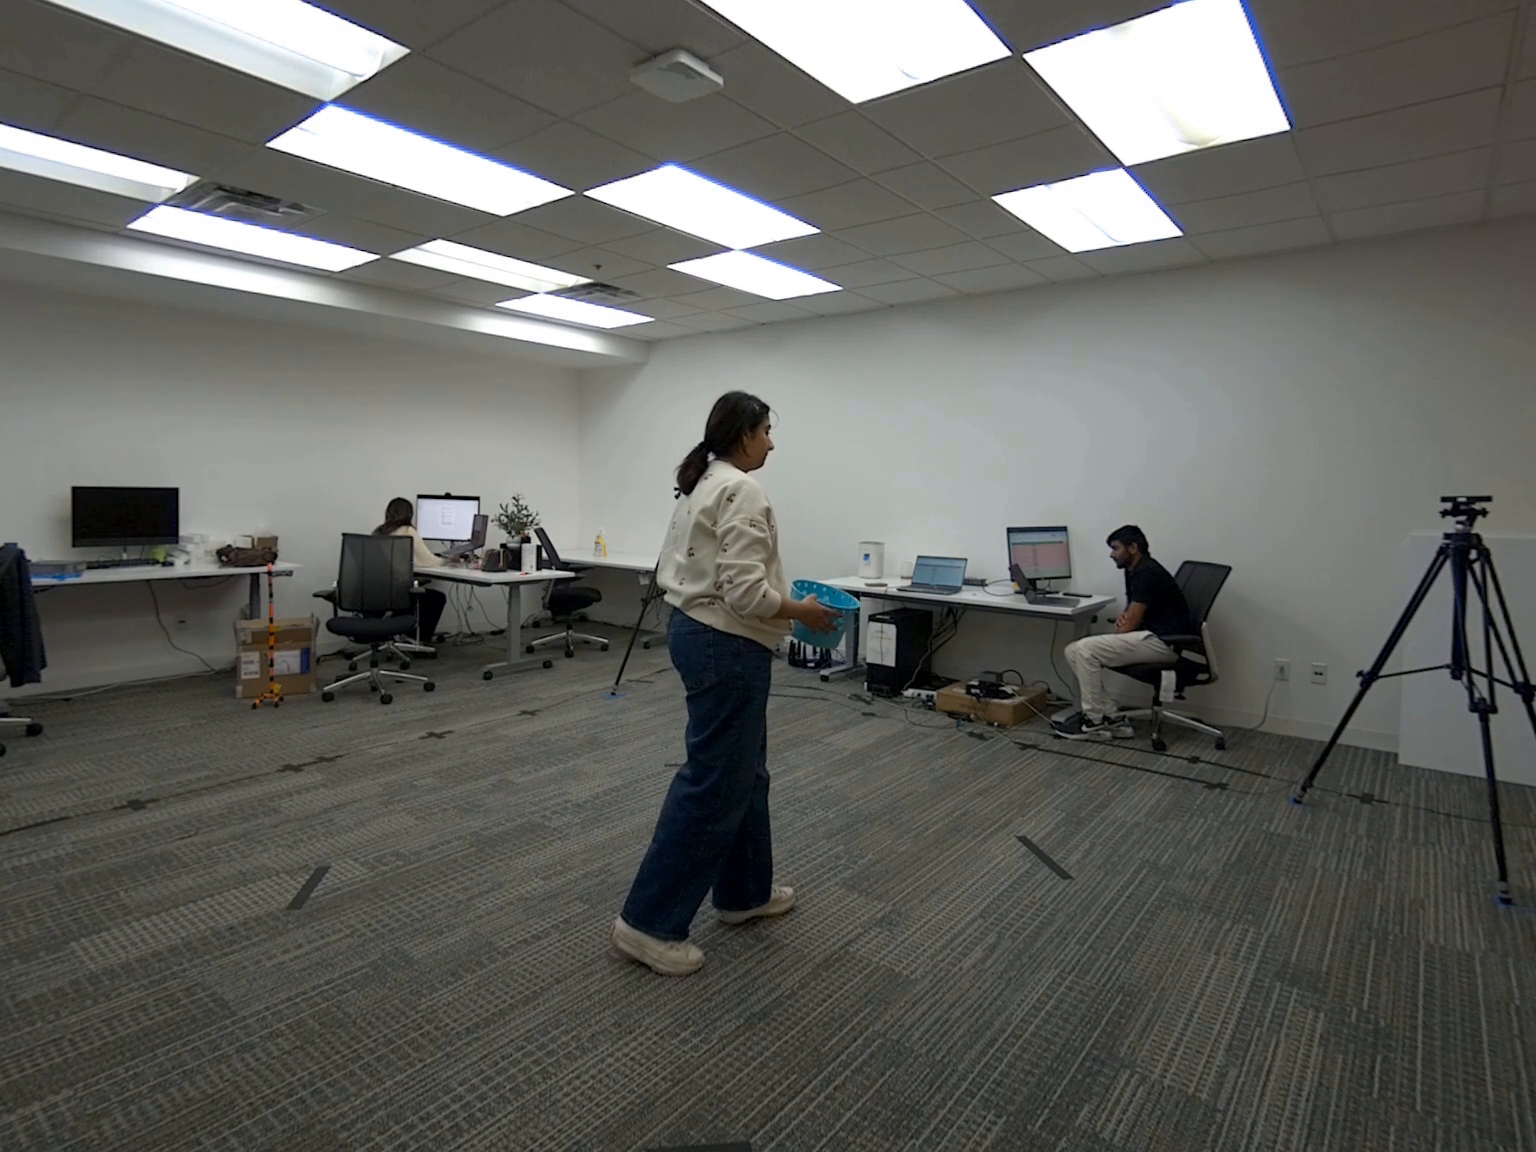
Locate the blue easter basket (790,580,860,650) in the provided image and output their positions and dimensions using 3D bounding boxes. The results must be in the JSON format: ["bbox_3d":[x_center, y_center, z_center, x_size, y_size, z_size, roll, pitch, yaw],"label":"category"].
[{"bbox_3d":[0.158,0.135,2.716,0.242,0.154,0.248,13,16,-6],"label":"blue easter basket"}]
